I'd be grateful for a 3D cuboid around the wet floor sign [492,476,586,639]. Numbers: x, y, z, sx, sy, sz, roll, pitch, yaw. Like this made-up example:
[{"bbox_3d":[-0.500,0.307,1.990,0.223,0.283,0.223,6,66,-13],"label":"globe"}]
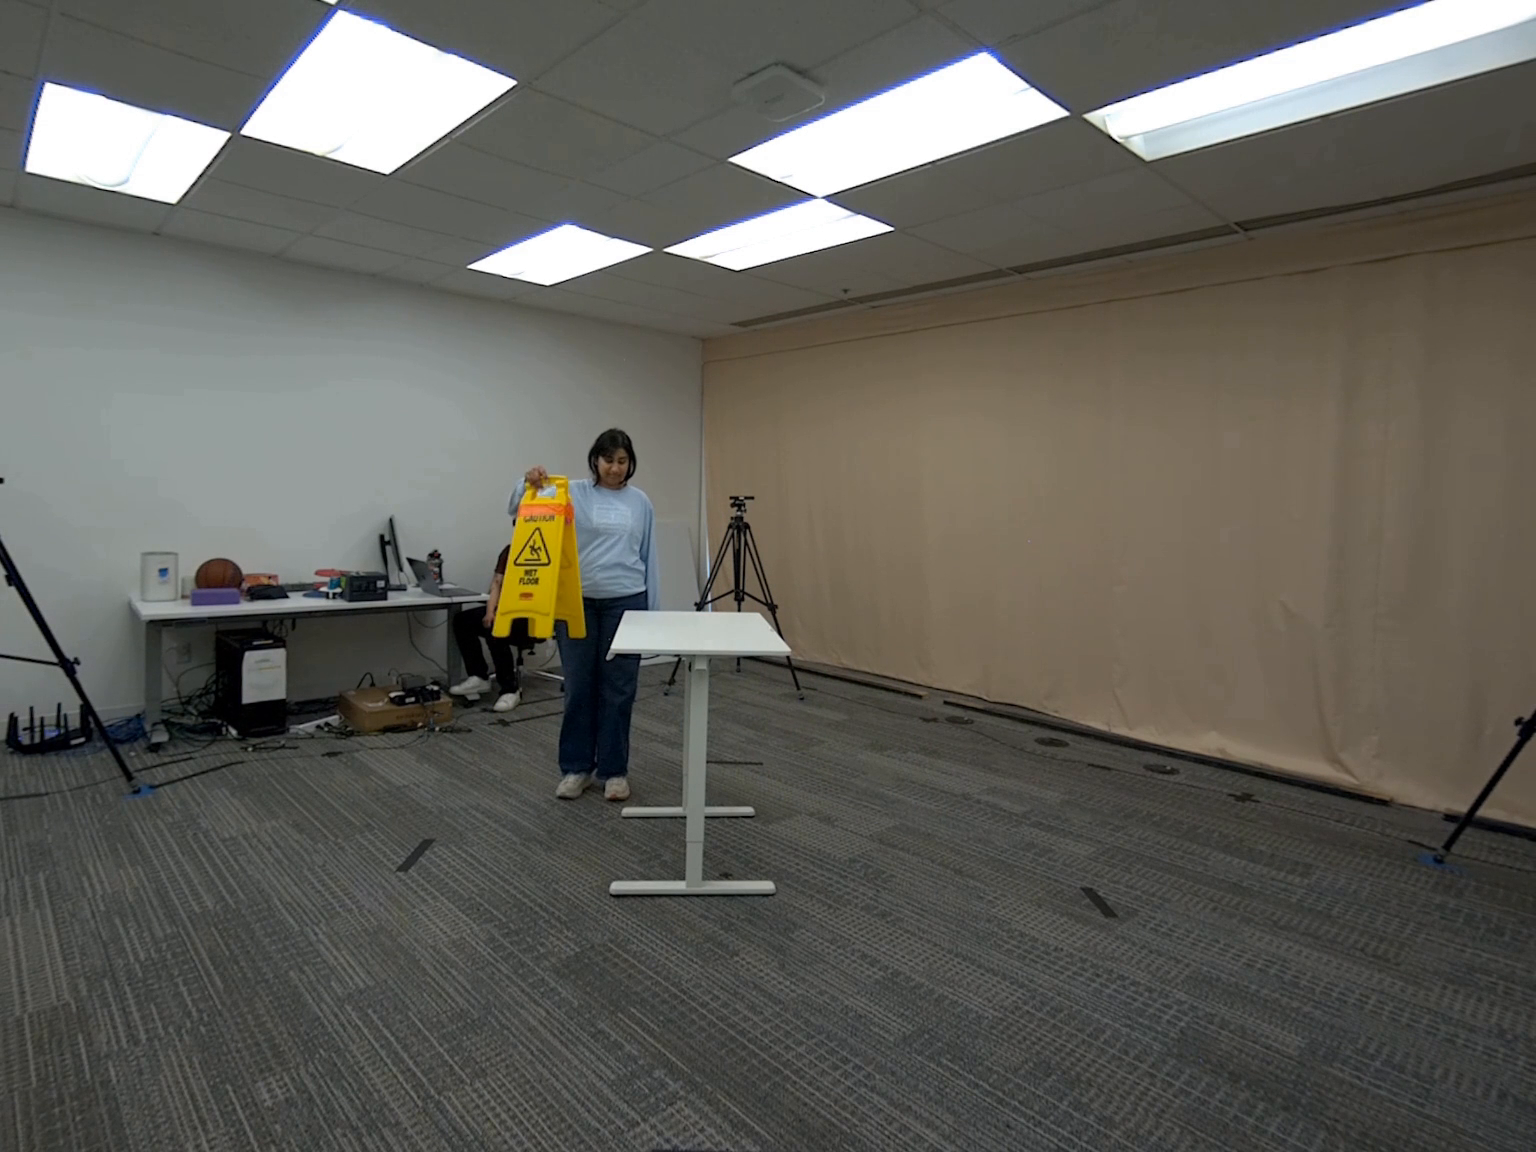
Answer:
[{"bbox_3d":[-0.929,-0.078,3.410,0.287,0.649,0.284,-3,-6,22],"label":"wet floor sign"}]
